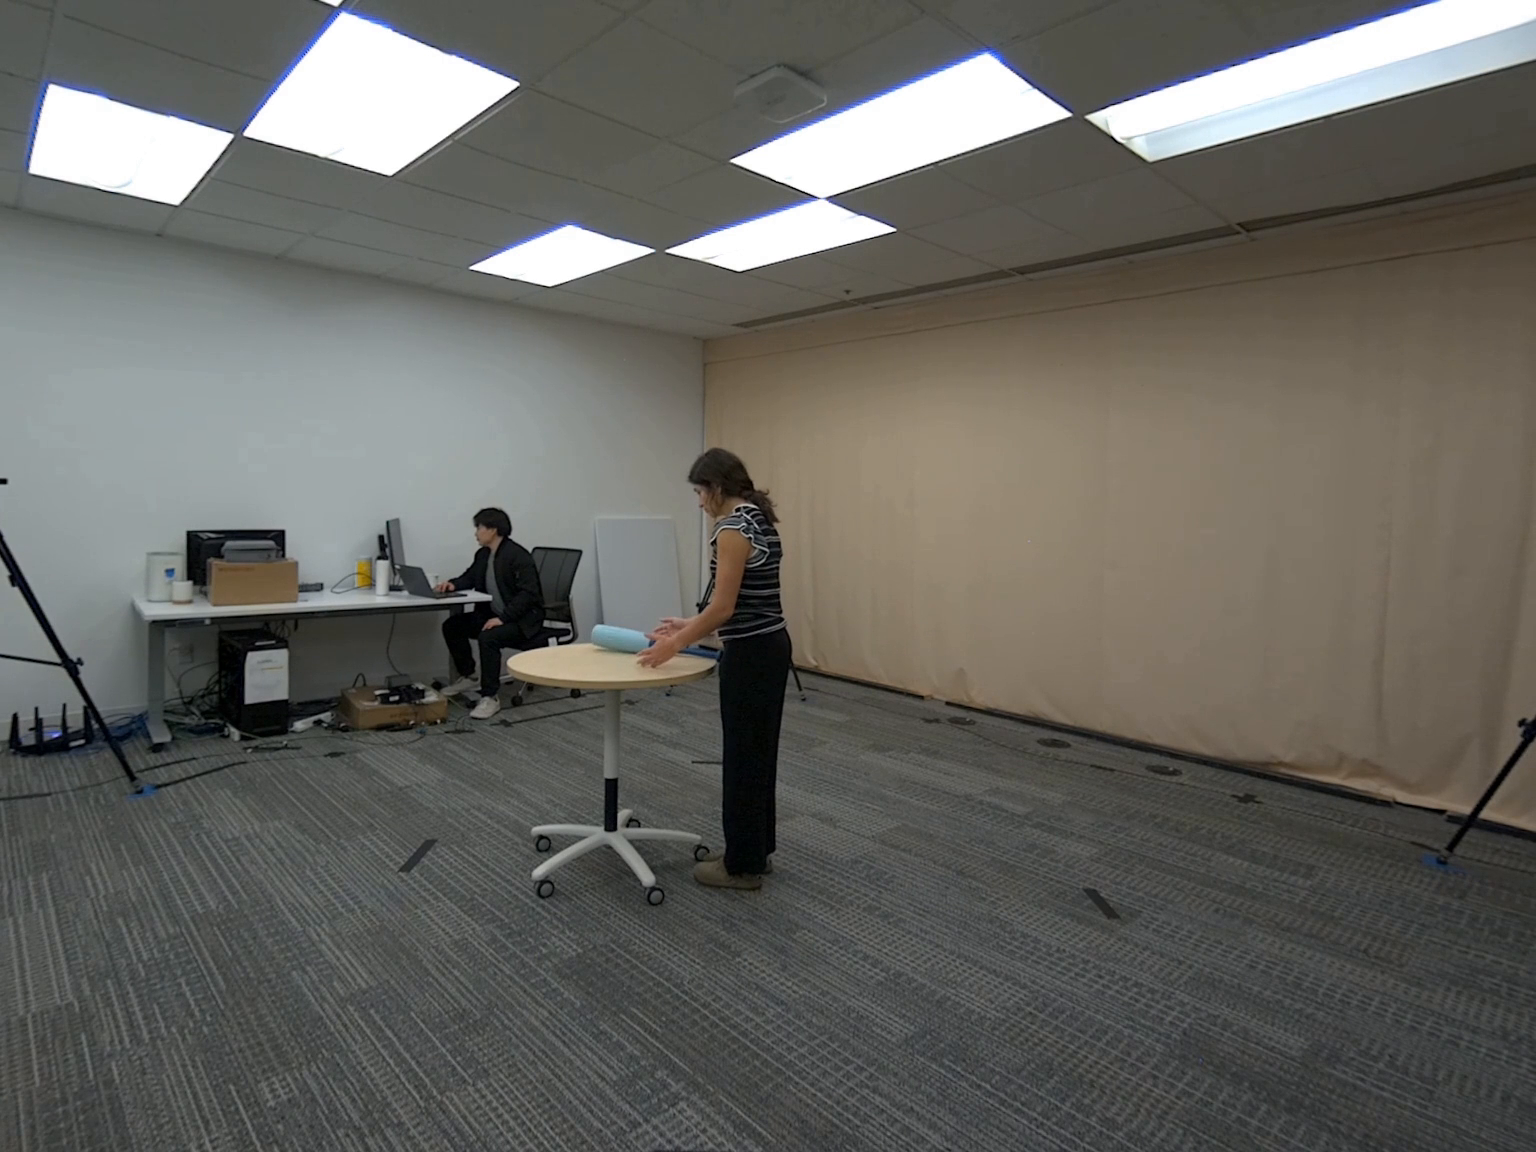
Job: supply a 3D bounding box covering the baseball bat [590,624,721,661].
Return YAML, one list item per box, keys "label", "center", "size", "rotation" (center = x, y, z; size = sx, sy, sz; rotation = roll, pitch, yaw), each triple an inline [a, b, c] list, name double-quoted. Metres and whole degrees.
- label: "baseball bat"
  center: [-0.426, 0.270, 3.229]
  size: [0.551, 0.089, 0.088]
  rotation: [8, 6, 17]
